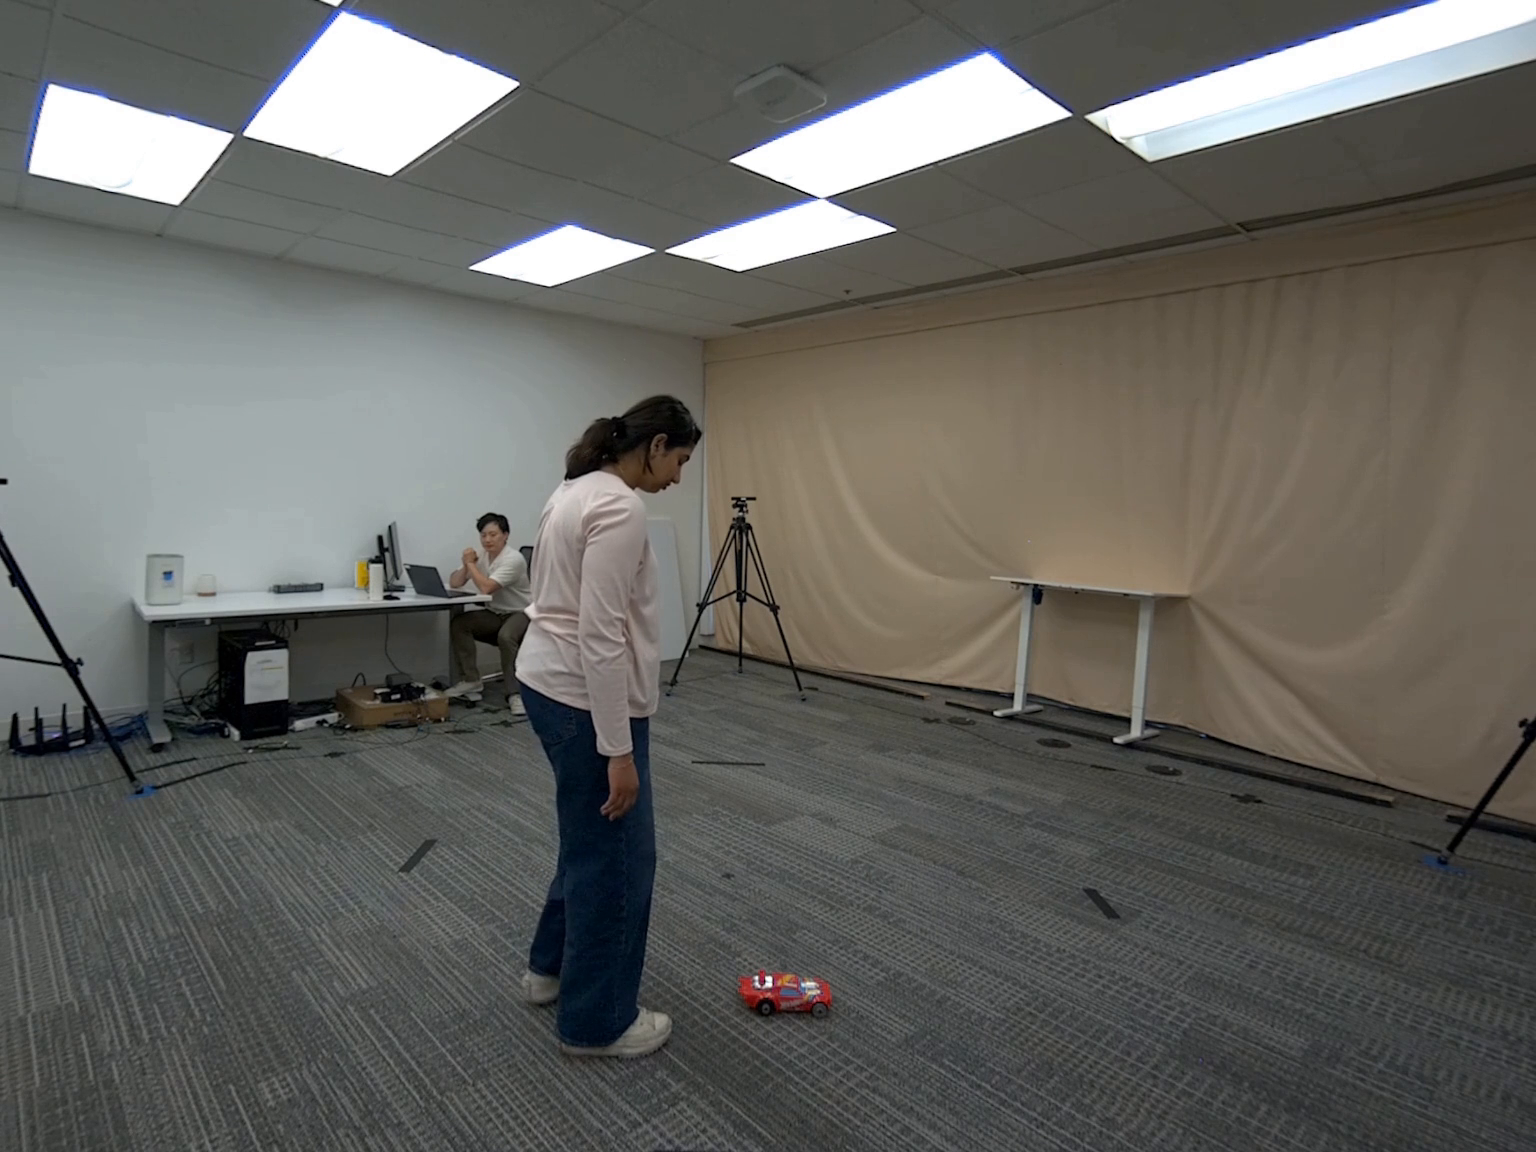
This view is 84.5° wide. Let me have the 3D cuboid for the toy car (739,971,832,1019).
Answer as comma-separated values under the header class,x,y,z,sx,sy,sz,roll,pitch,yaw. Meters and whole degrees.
class,x,y,z,sx,sy,sz,roll,pitch,yaw
toy car,0.039,1.155,2.312,0.255,0.083,0.130,13,3,0
